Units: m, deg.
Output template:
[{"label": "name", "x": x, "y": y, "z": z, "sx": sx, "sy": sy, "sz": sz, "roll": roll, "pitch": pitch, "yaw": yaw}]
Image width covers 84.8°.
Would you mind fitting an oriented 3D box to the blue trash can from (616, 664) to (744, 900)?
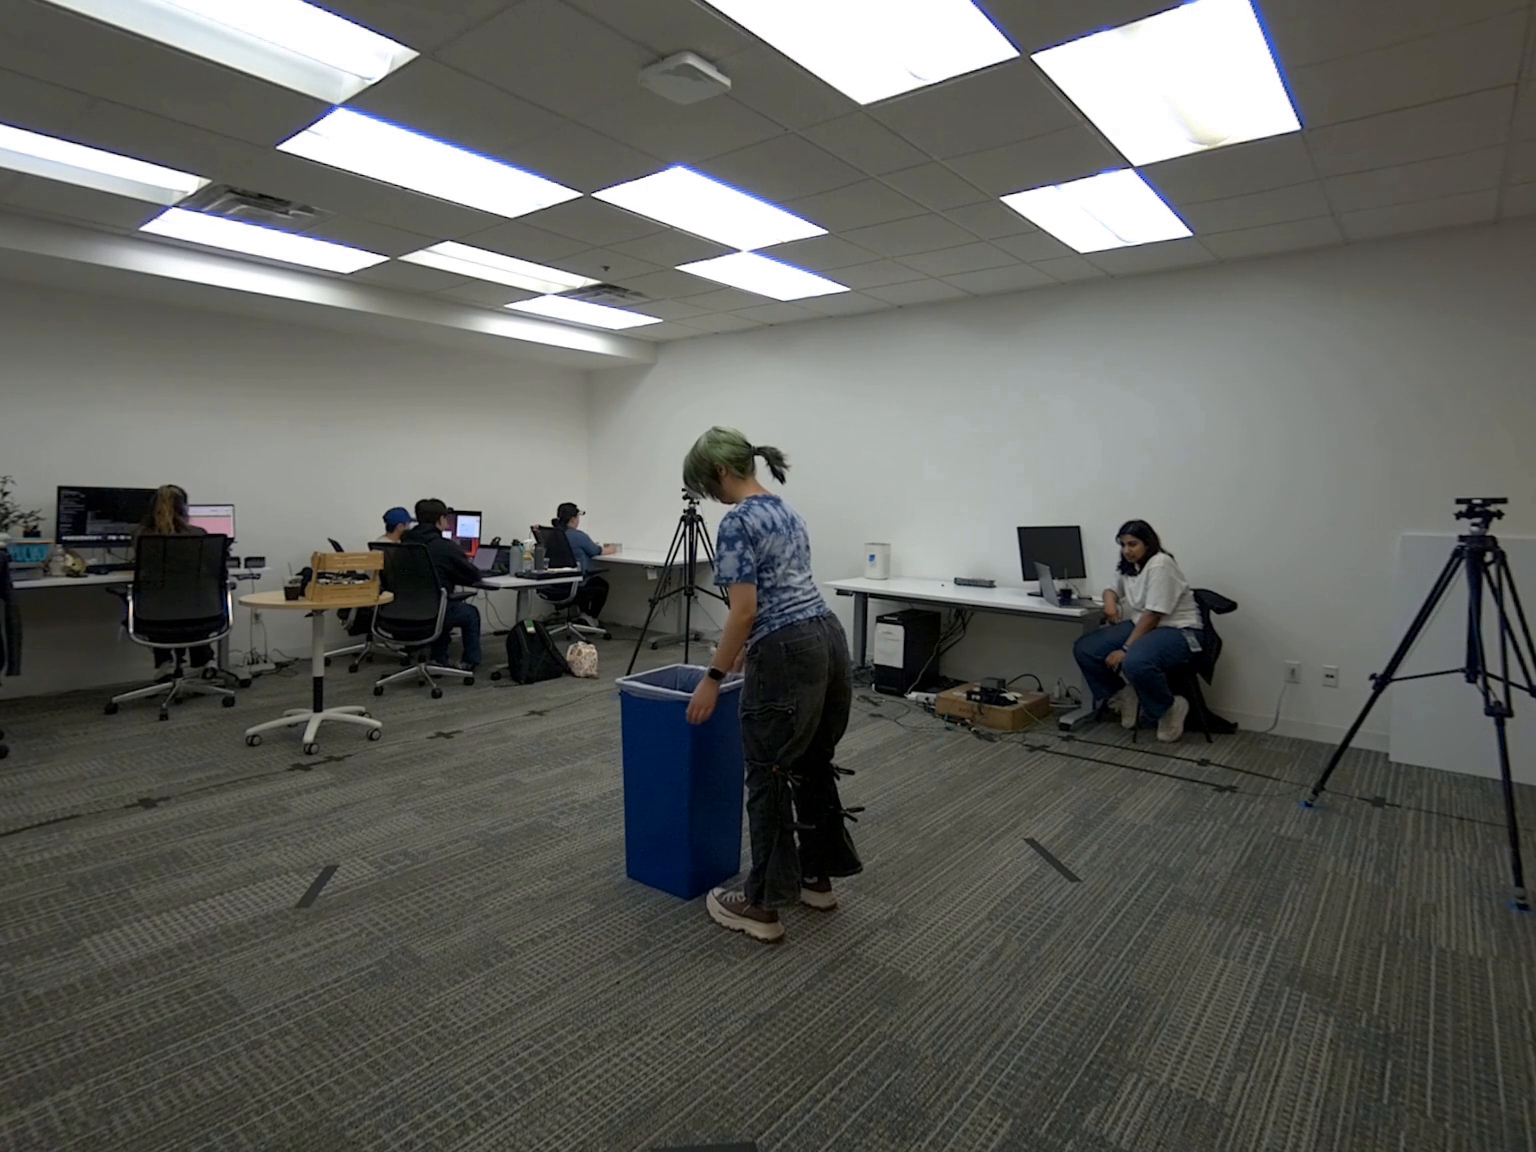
[{"label": "blue trash can", "x": -0.316, "y": 0.716, "z": 3.045, "sx": 0.390, "sy": 0.712, "sz": 0.363, "roll": 2, "pitch": 3, "yaw": 35}]
